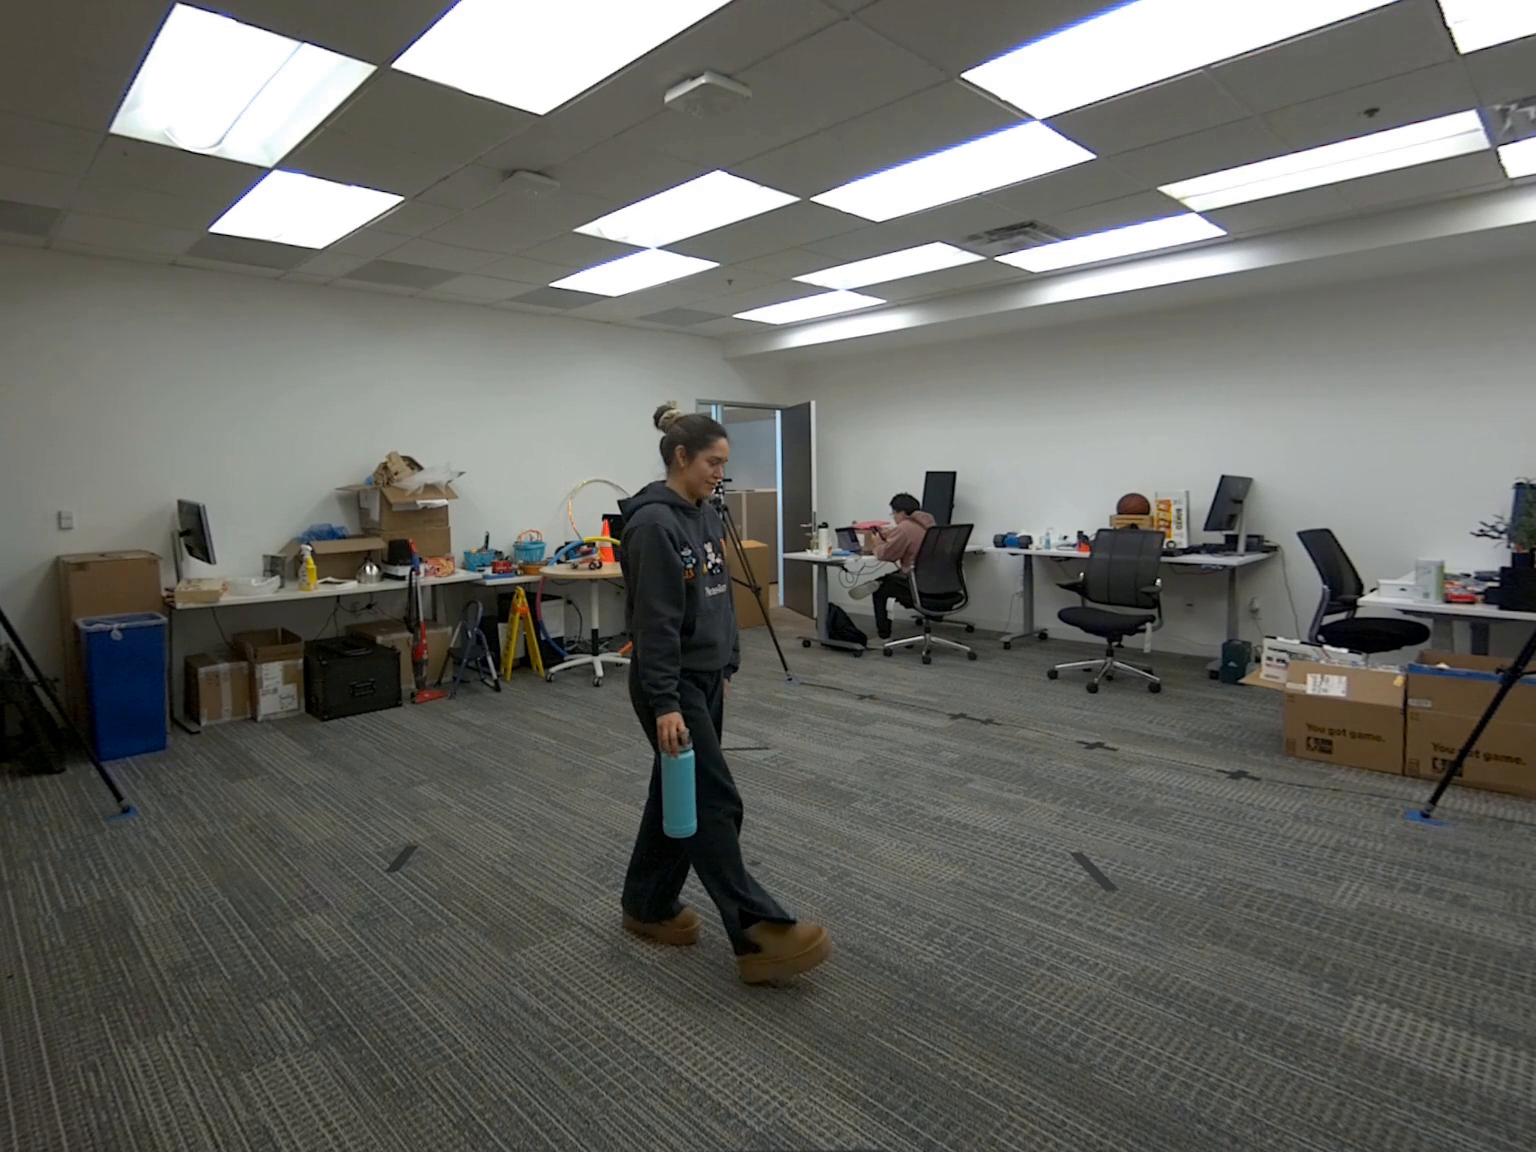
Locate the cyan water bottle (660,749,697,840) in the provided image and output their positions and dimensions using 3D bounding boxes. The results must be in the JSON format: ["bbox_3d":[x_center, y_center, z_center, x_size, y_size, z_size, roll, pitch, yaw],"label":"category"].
[{"bbox_3d":[-0.246,0.552,2.284,0.092,0.282,0.093,-1,4,-2],"label":"cyan water bottle"}]
